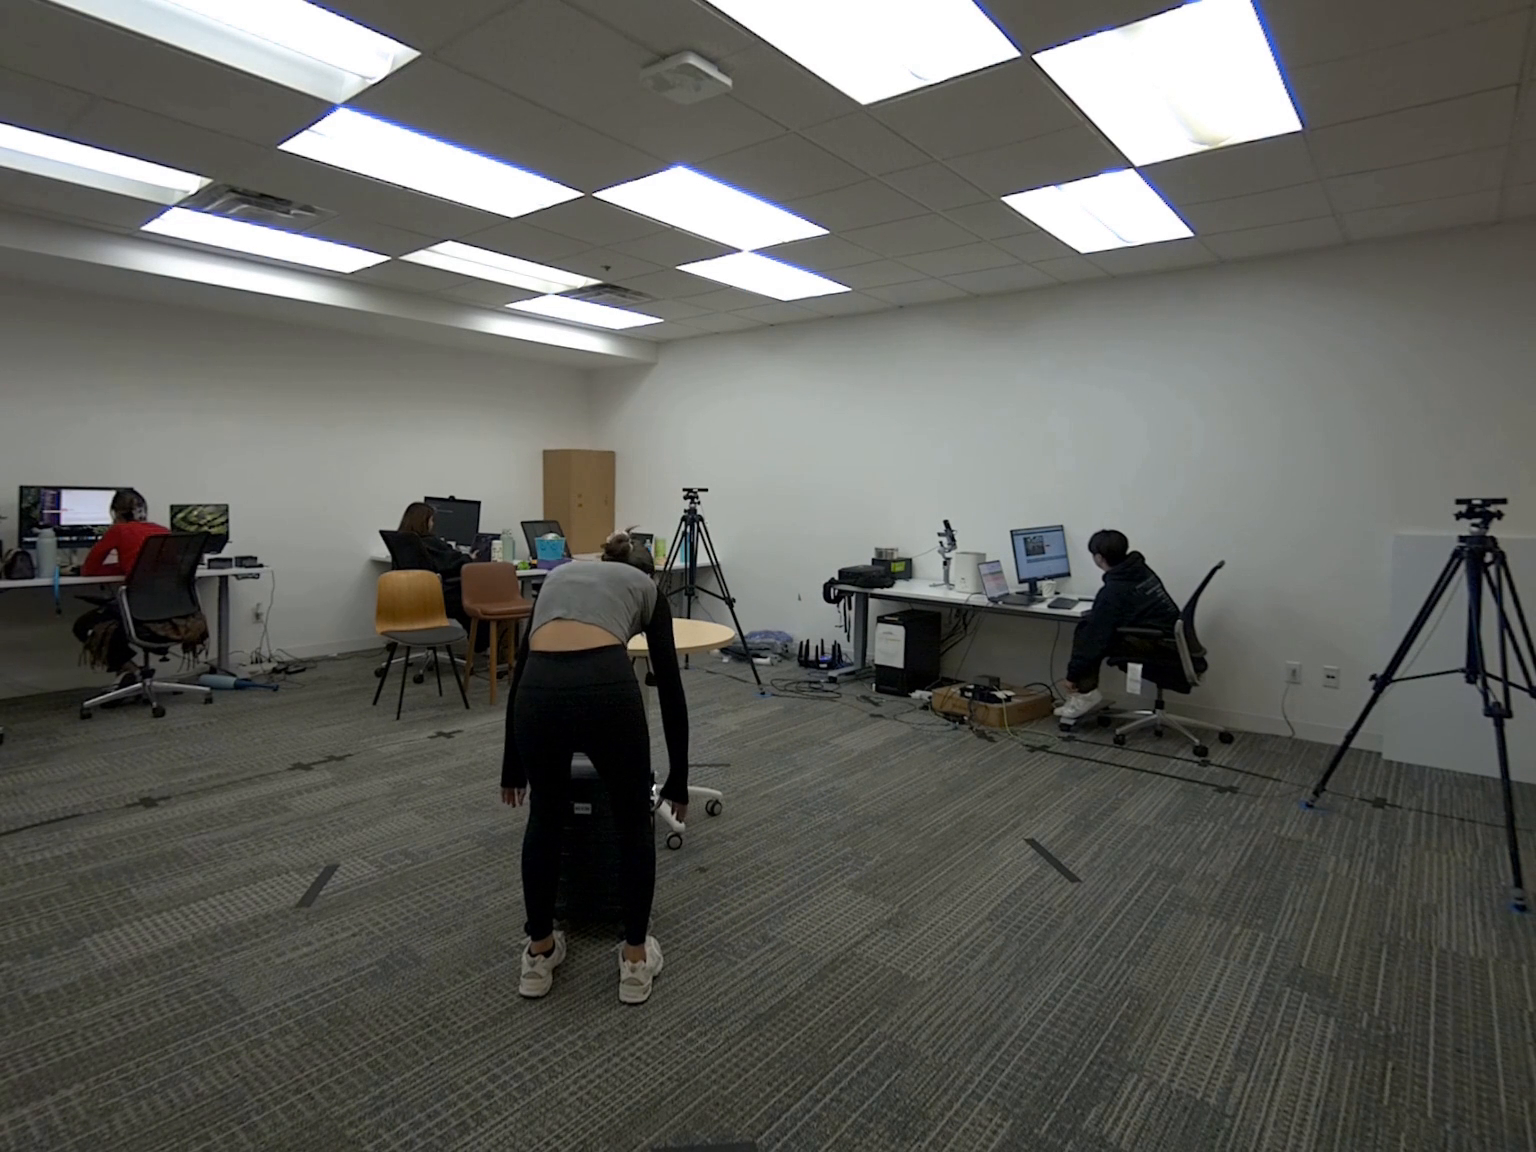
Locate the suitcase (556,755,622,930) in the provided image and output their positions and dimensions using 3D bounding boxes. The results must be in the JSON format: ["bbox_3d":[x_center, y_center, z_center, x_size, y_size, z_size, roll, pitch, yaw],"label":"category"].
[{"bbox_3d":[-0.571,0.831,2.705,0.375,0.548,0.249,1,3,-1],"label":"suitcase"}]
